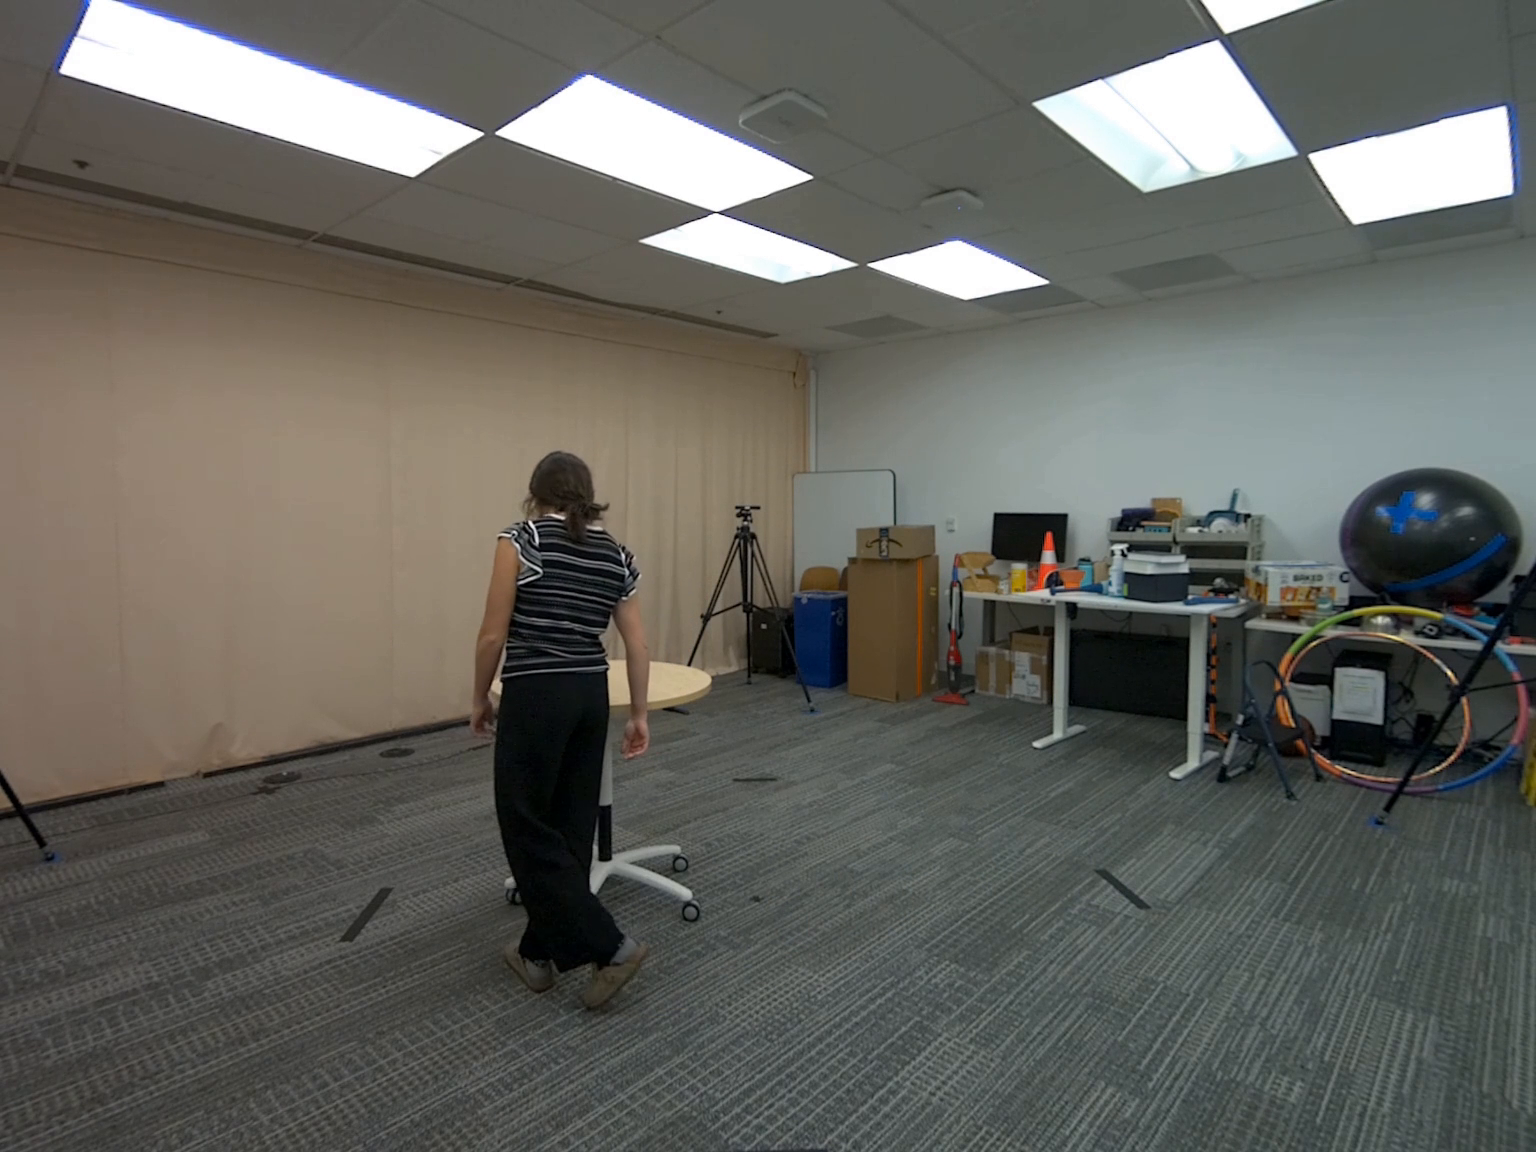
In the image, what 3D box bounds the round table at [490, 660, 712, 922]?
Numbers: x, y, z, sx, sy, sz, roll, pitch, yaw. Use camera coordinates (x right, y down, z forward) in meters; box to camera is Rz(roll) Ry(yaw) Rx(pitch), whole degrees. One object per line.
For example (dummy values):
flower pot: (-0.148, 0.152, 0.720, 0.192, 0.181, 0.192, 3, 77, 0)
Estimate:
round table: (-0.574, 0.762, 2.981, 0.763, 0.792, 0.766, 0, 3, -2)
